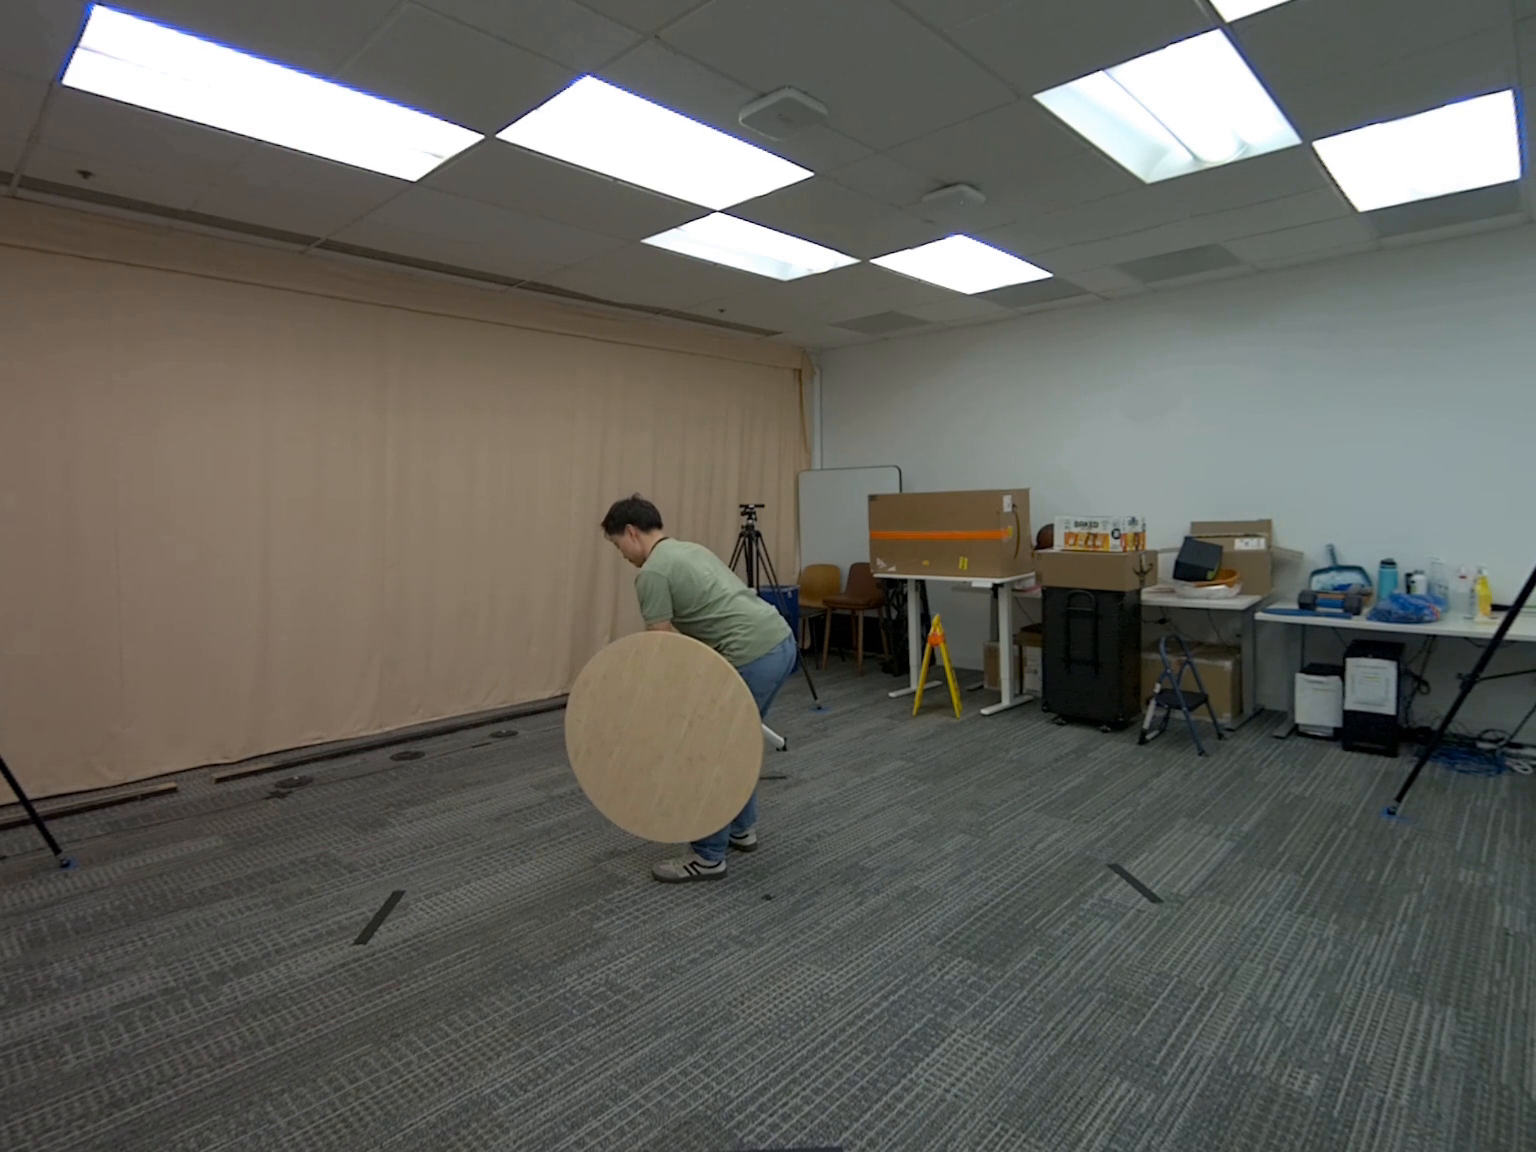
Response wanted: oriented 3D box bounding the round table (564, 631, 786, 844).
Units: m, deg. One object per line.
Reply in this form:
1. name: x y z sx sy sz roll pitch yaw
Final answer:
1. round table: -0.291 0.553 3.401 0.778 0.762 0.781 0 4 17
